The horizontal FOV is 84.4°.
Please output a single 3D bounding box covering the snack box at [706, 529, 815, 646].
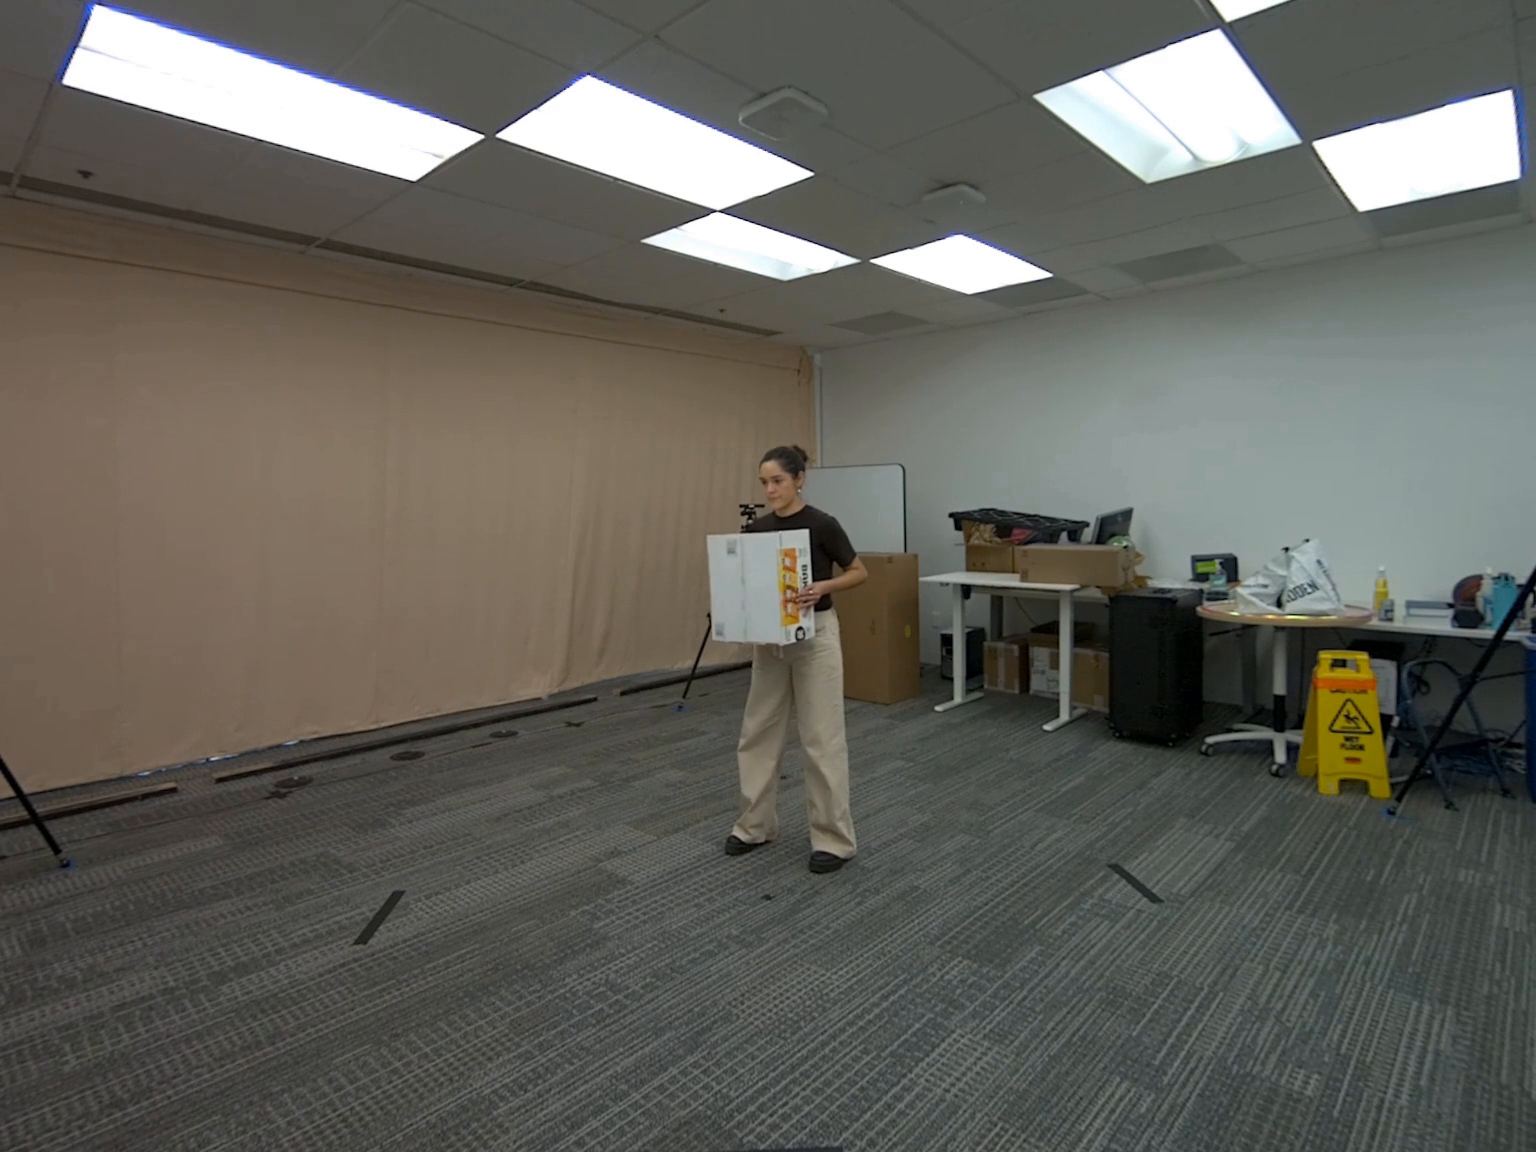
[{"bbox_3d":[-0.028,0.040,3.184,0.351,0.404,0.199,-1,3,39],"label":"snack box"}]
